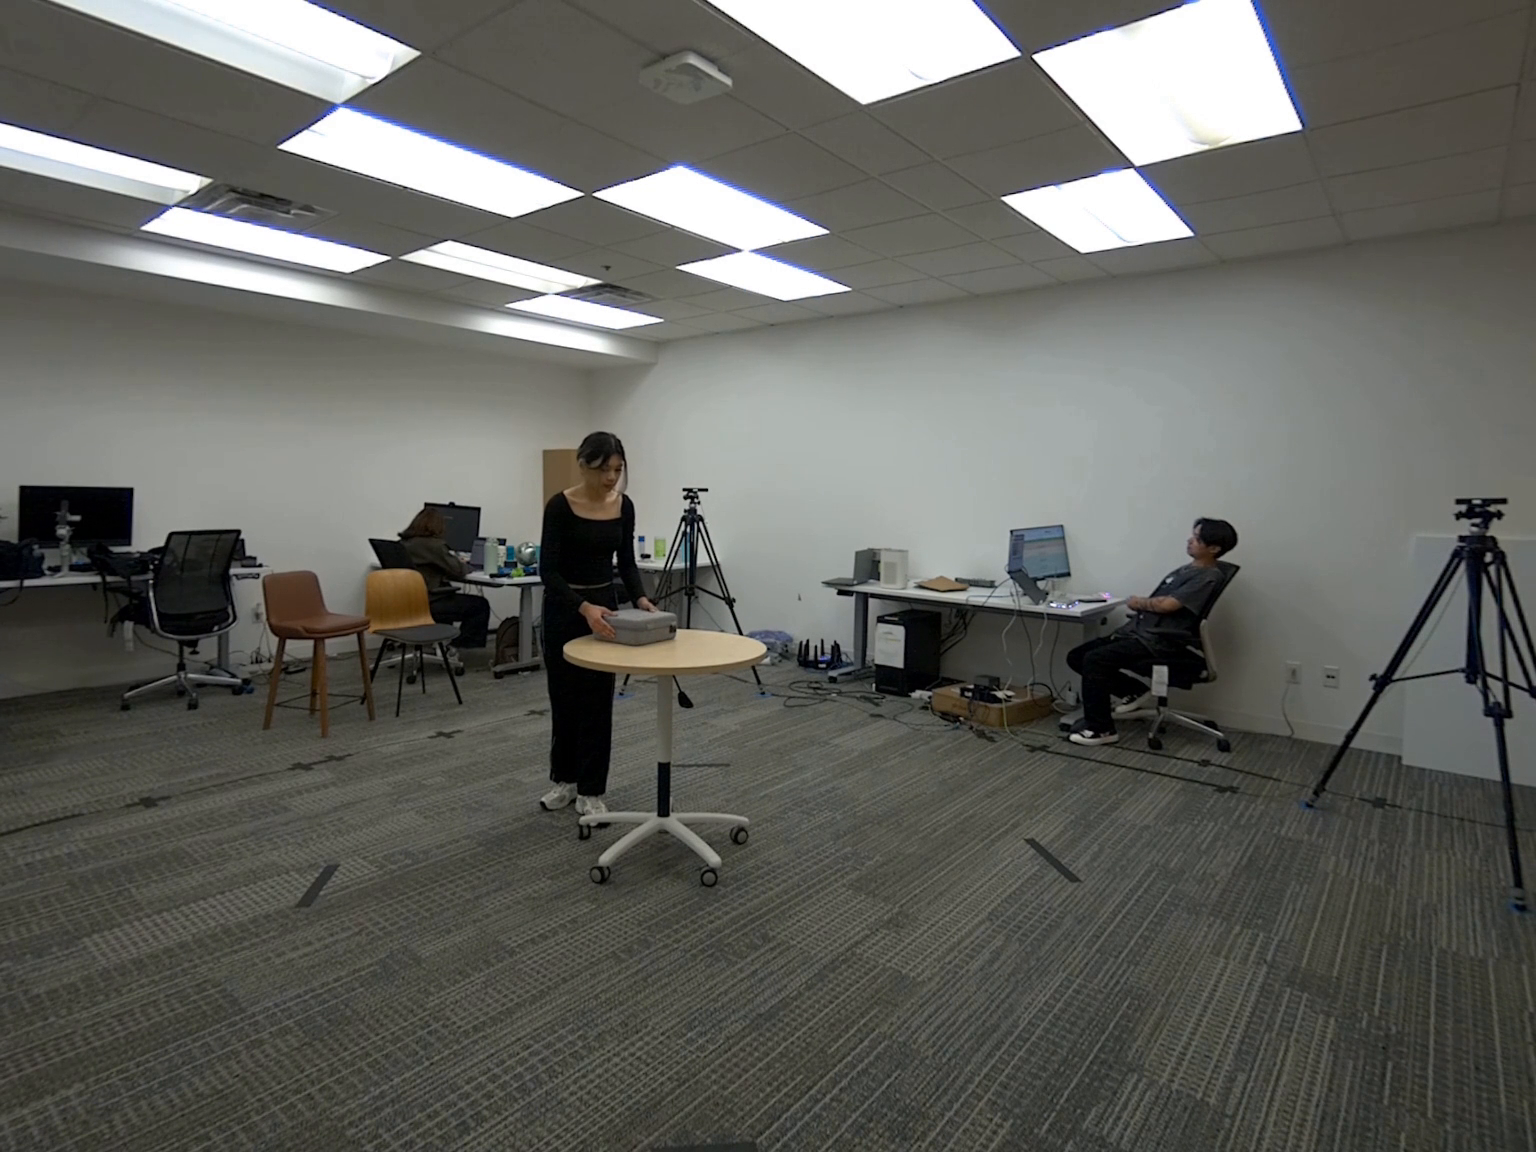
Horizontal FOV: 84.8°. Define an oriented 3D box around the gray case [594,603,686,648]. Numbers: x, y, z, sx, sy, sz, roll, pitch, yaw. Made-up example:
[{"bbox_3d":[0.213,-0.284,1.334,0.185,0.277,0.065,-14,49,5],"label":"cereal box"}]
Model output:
[{"bbox_3d":[-0.513,0.191,3.359,0.268,0.104,0.251,5,9,28],"label":"gray case"}]
